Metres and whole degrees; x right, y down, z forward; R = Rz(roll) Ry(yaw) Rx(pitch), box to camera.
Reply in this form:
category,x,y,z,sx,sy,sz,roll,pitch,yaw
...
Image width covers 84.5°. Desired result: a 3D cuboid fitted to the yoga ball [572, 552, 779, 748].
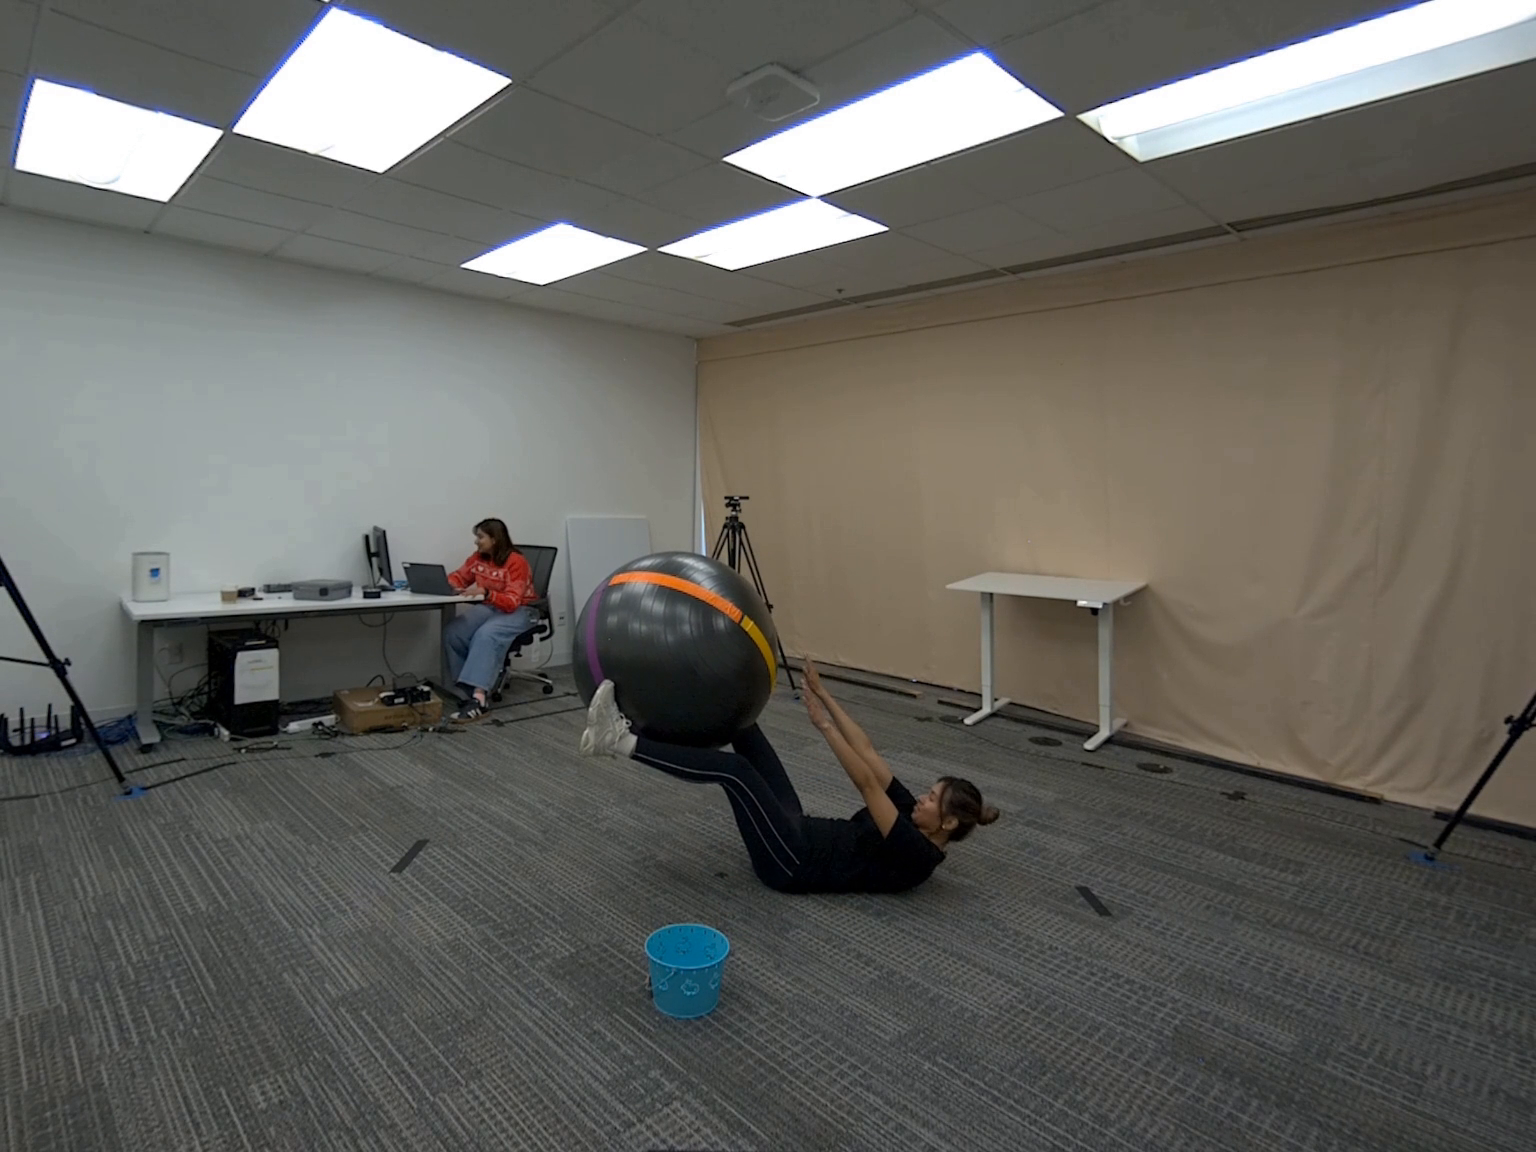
category,x,y,z,sx,sy,sz,roll,pitch,yaw
yoga ball,-0.334,0.289,3.107,0.757,0.756,0.761,1,4,-1
